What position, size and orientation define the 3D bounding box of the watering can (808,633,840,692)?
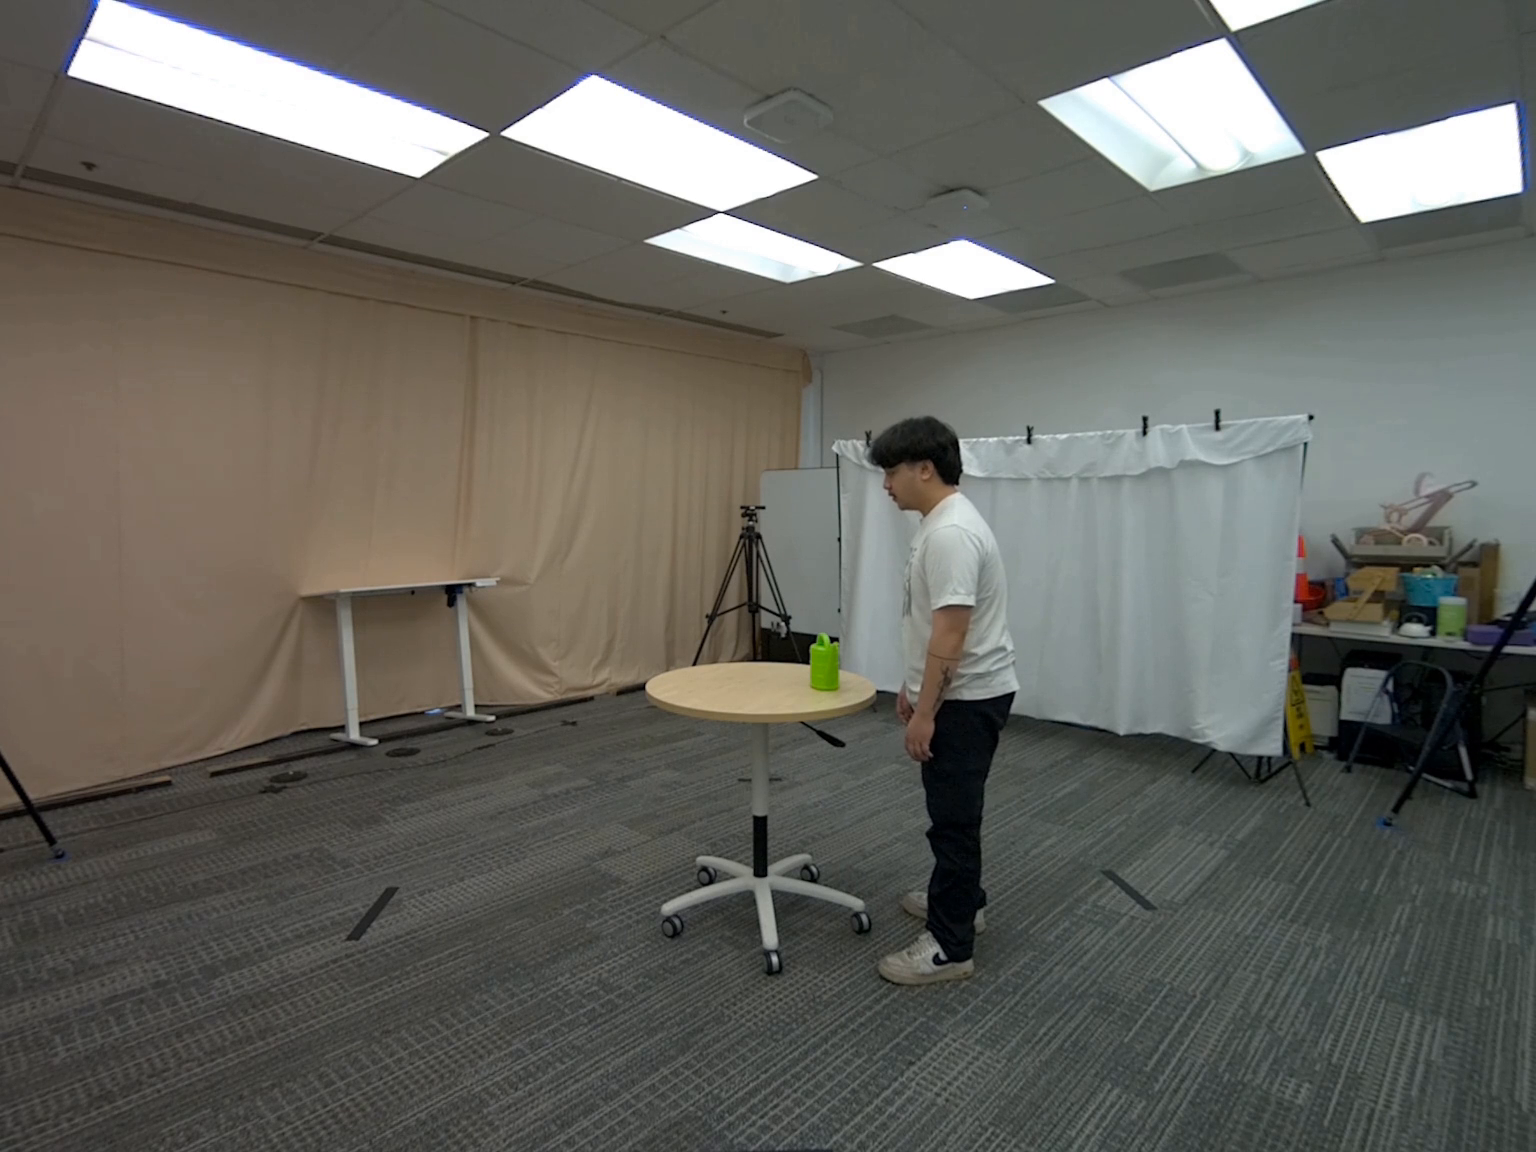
[{"bbox_3d":[0.197,0.289,2.735,0.099,0.176,0.277,0,3,4],"label":"watering can"}]
